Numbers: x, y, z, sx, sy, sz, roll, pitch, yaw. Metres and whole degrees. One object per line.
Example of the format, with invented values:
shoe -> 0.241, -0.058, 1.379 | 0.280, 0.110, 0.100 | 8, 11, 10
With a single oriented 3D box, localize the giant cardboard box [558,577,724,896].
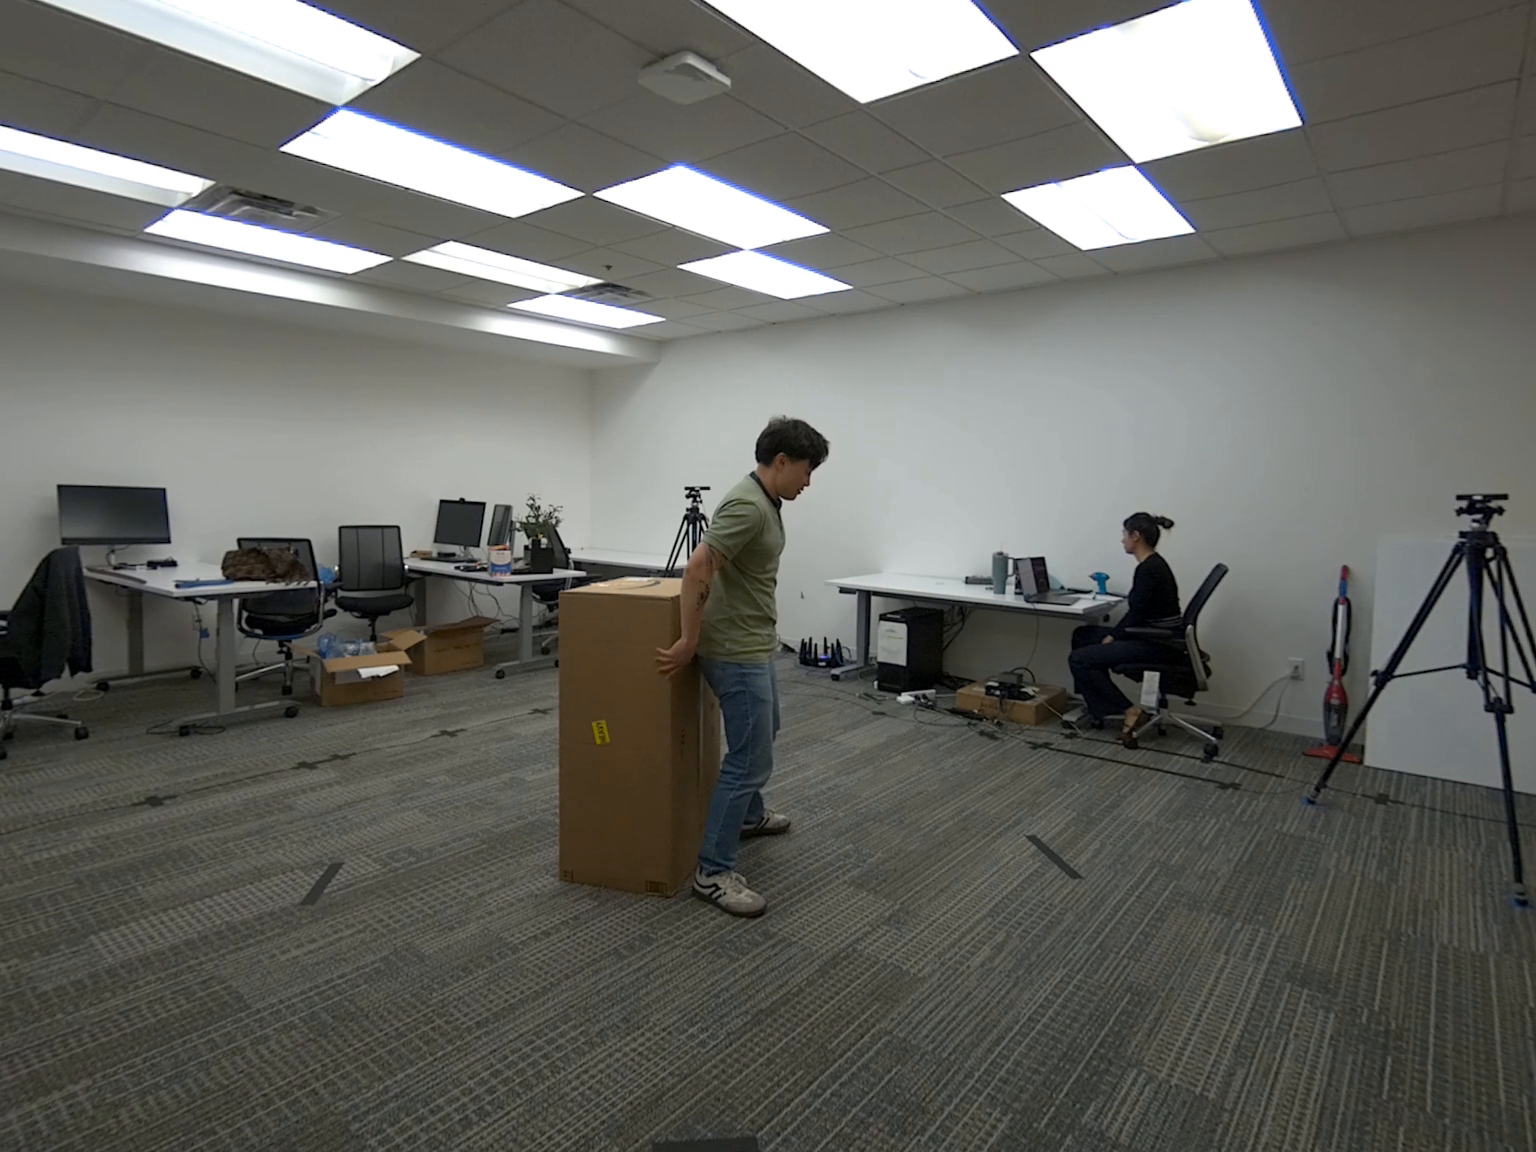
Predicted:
giant cardboard box -> -0.479, 0.542, 3.178 | 0.434, 1.023, 0.568 | 1, 3, 16
